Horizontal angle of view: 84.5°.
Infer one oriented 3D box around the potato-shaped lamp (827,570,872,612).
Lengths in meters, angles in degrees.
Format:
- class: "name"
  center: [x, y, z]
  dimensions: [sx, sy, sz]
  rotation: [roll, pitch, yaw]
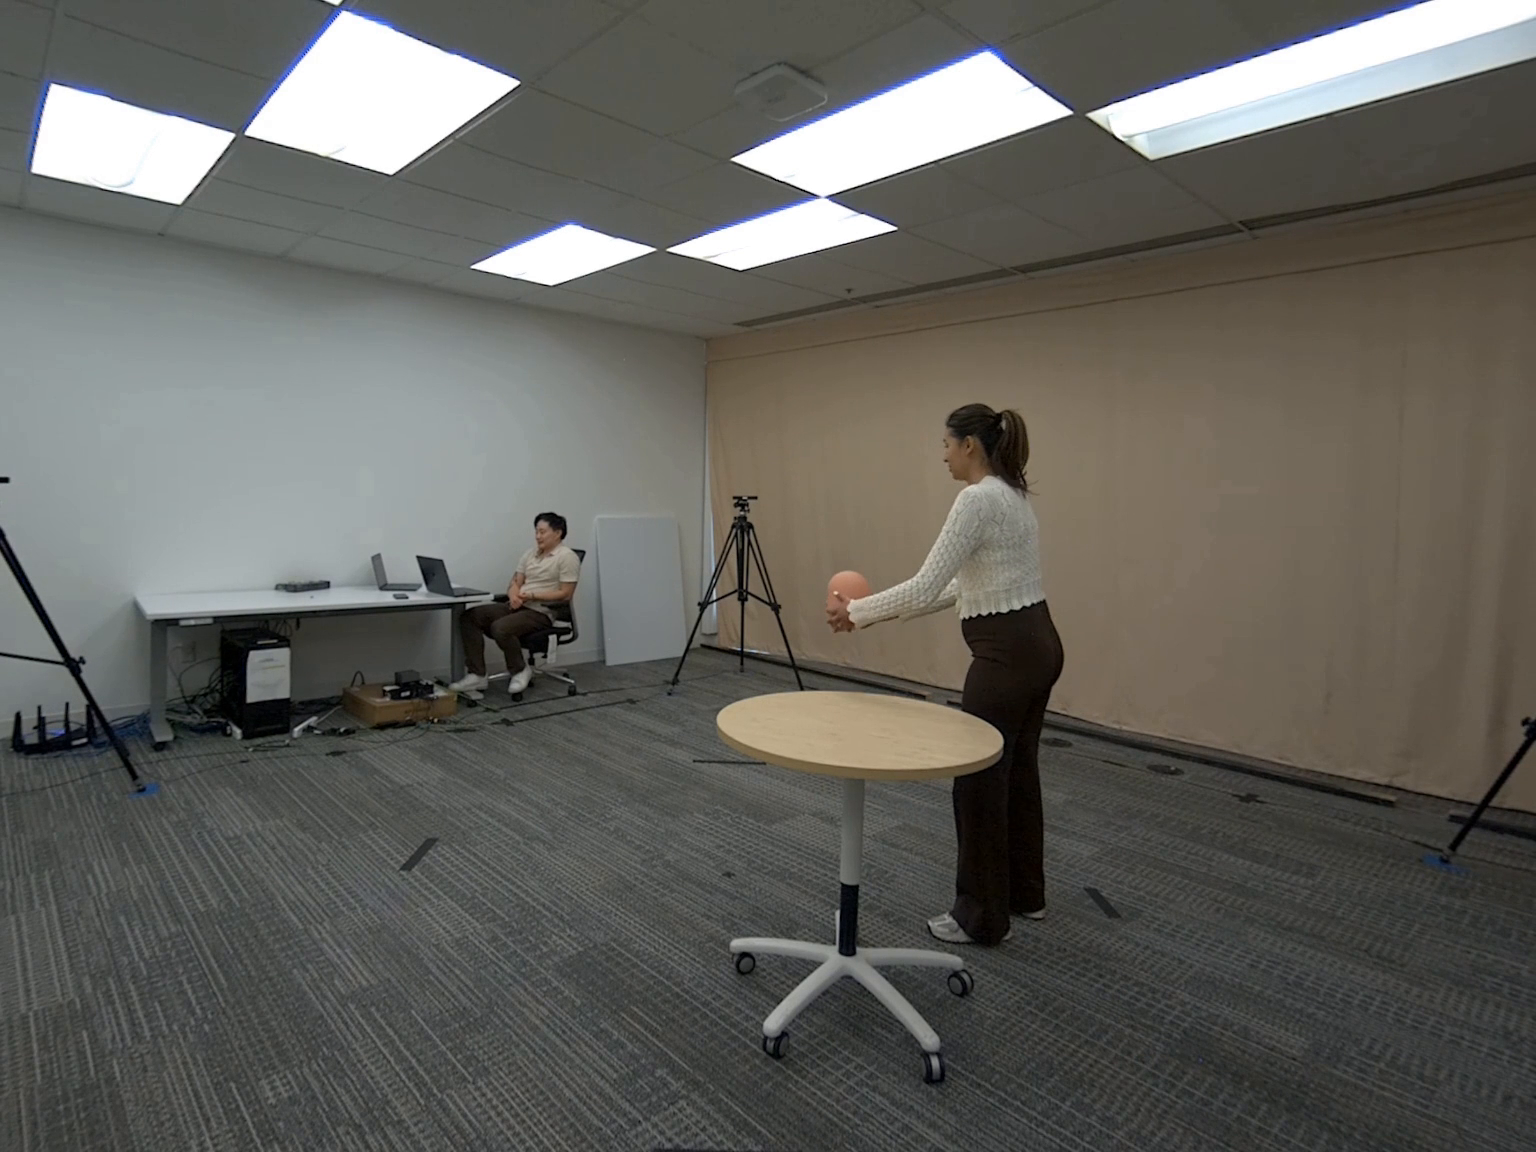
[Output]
- class: "potato-shaped lamp"
  center: [0.282, 0.085, 2.865]
  dimensions: [0.162, 0.200, 0.172]
  rotation: [-7, -11, -23]
